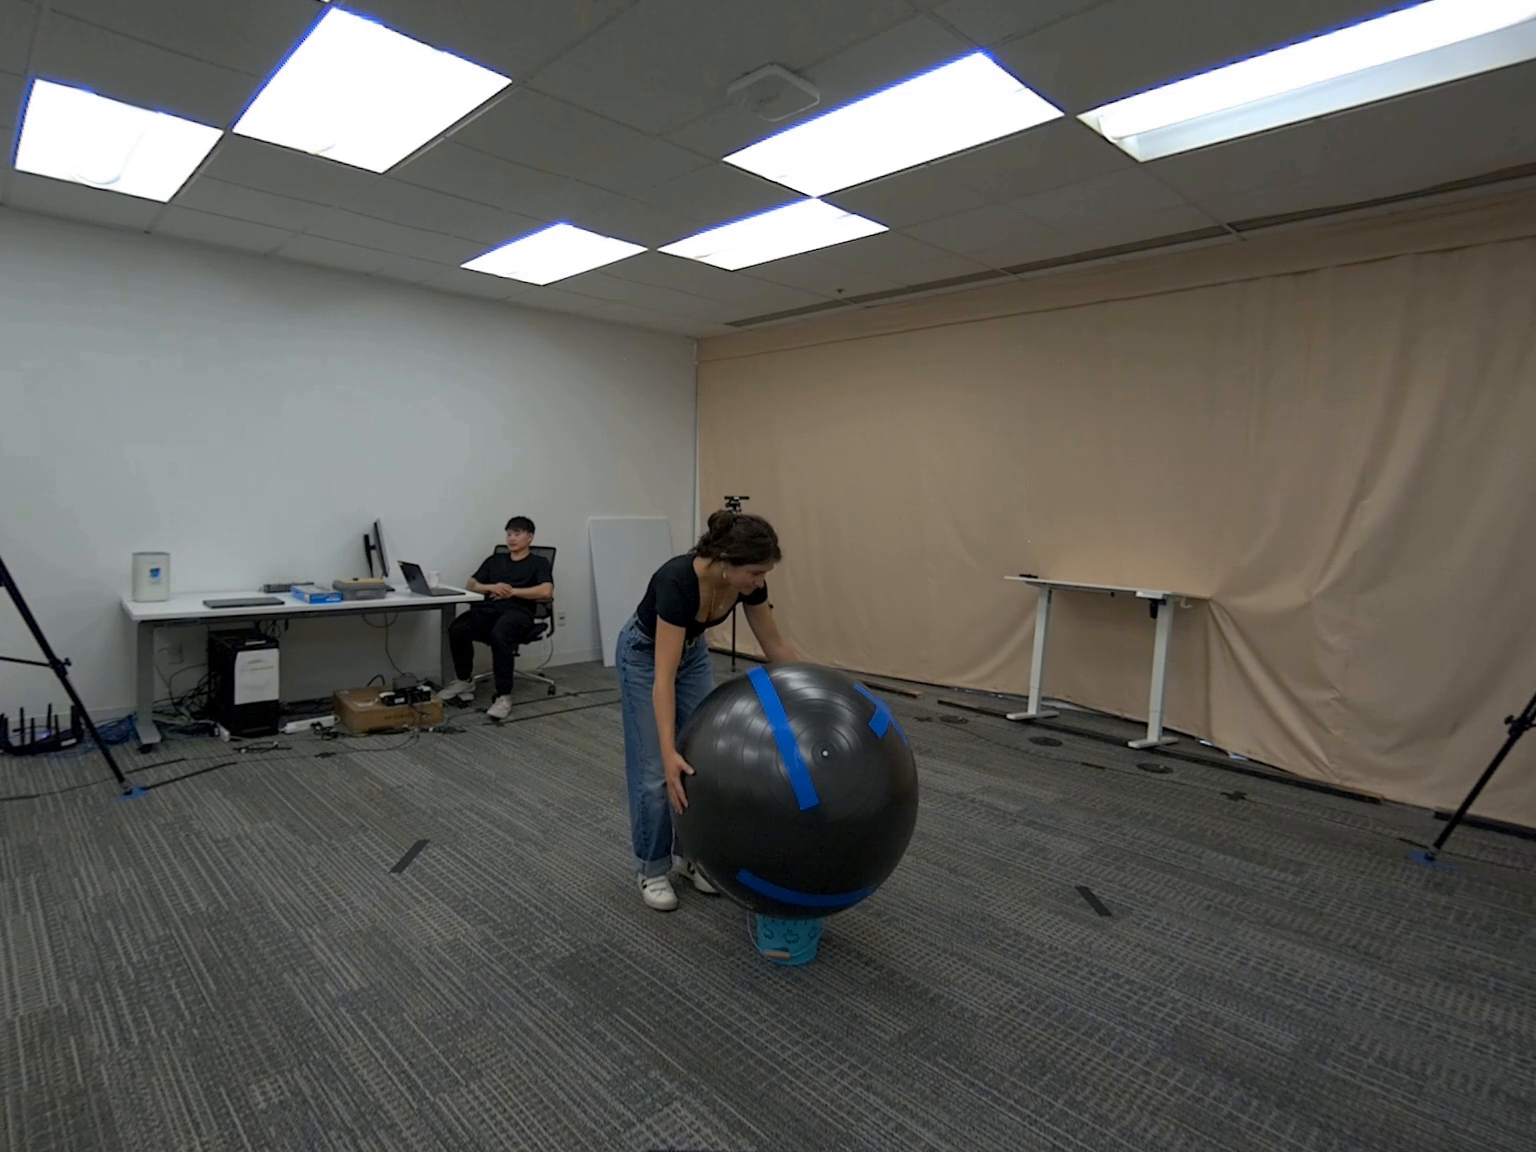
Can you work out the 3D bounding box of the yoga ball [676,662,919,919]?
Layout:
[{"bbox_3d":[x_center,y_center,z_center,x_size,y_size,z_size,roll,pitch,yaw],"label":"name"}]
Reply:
[{"bbox_3d":[0.074,0.651,2.583,0.757,0.756,0.761,1,4,-1],"label":"yoga ball"}]
